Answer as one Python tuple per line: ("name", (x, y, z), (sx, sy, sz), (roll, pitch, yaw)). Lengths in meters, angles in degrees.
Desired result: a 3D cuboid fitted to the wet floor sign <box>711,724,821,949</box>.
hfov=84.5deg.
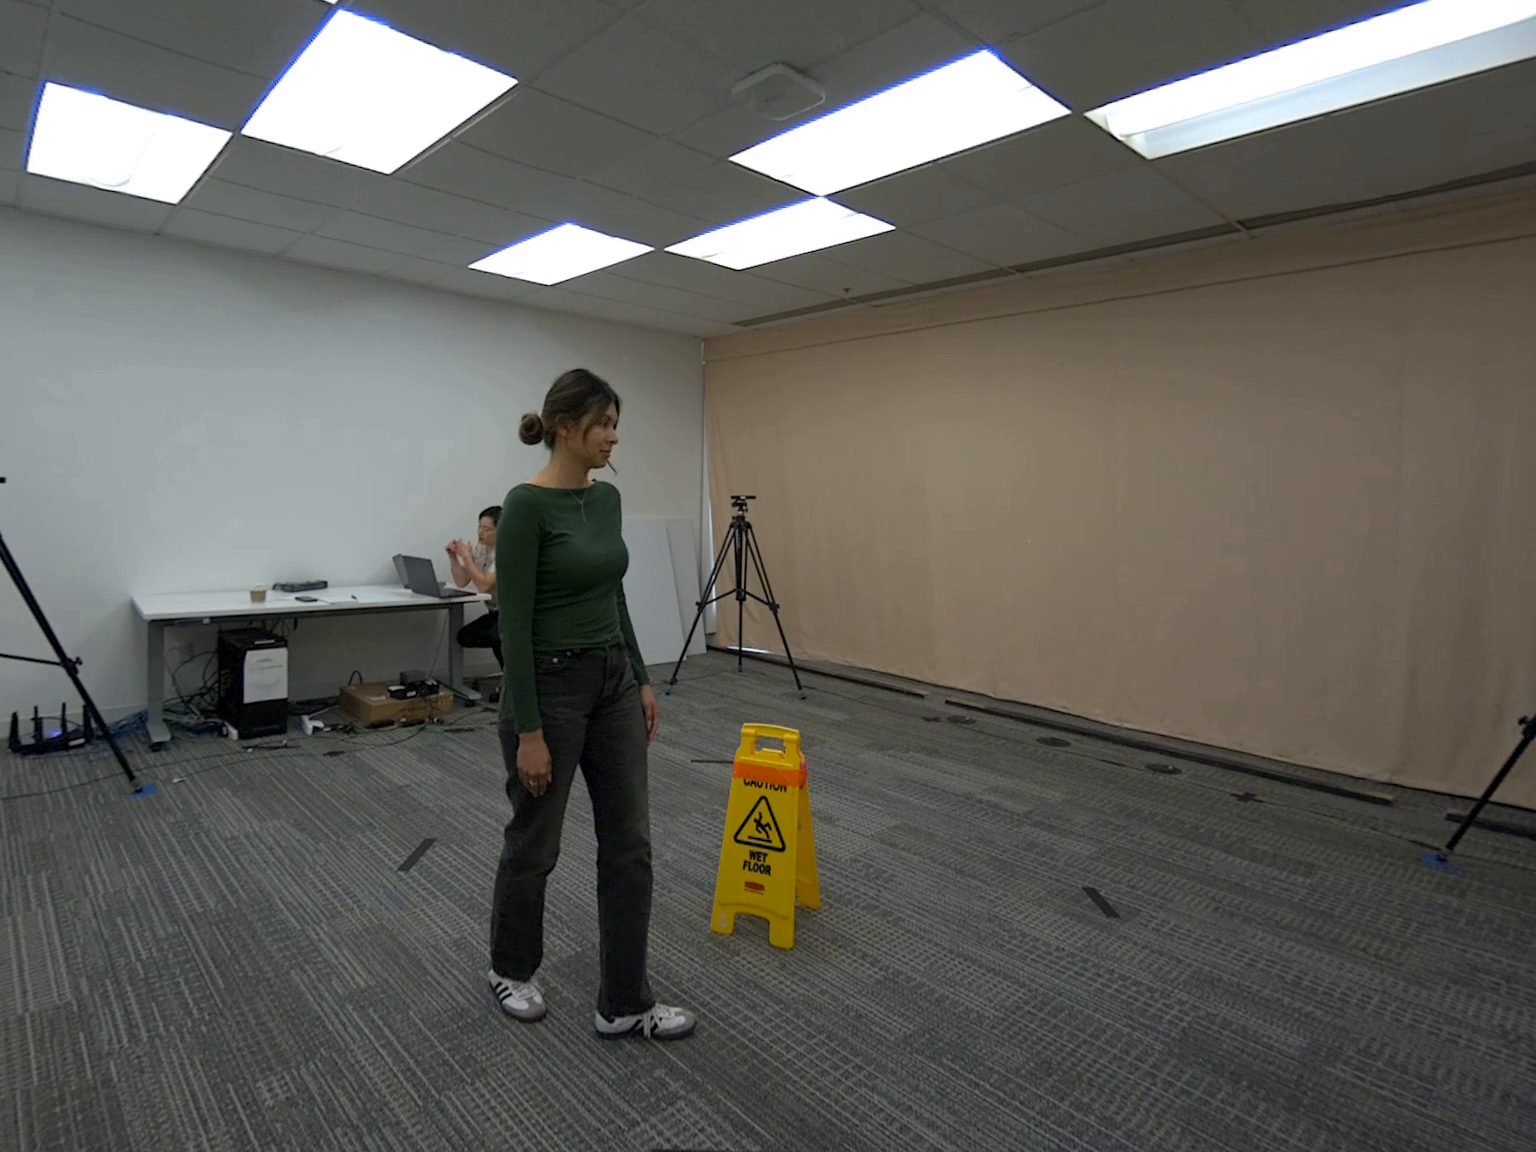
("wet floor sign", (-0.001, 0.812, 2.764), (0.287, 0.644, 0.285), (3, 3, 22))
